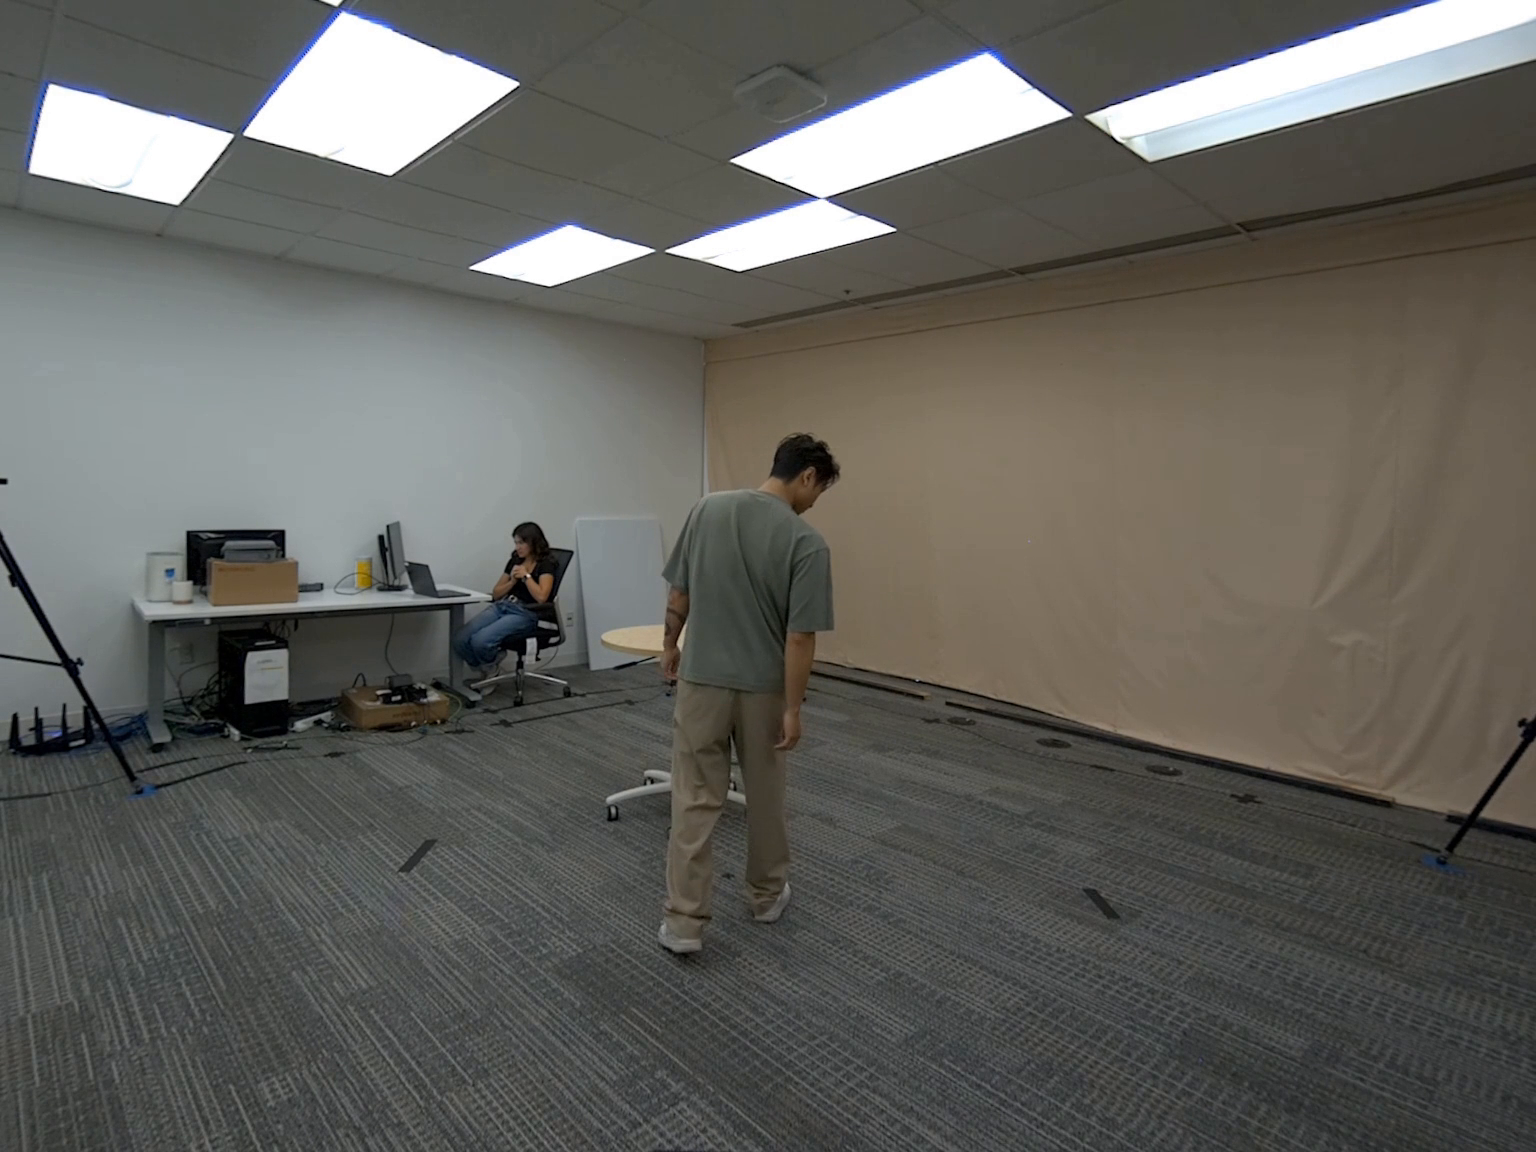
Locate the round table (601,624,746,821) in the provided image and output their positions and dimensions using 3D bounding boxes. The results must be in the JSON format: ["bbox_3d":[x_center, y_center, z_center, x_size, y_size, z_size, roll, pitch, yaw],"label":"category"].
[{"bbox_3d":[-0.355,0.660,3.727,0.784,0.784,0.788,1,4,-1],"label":"round table"}]
